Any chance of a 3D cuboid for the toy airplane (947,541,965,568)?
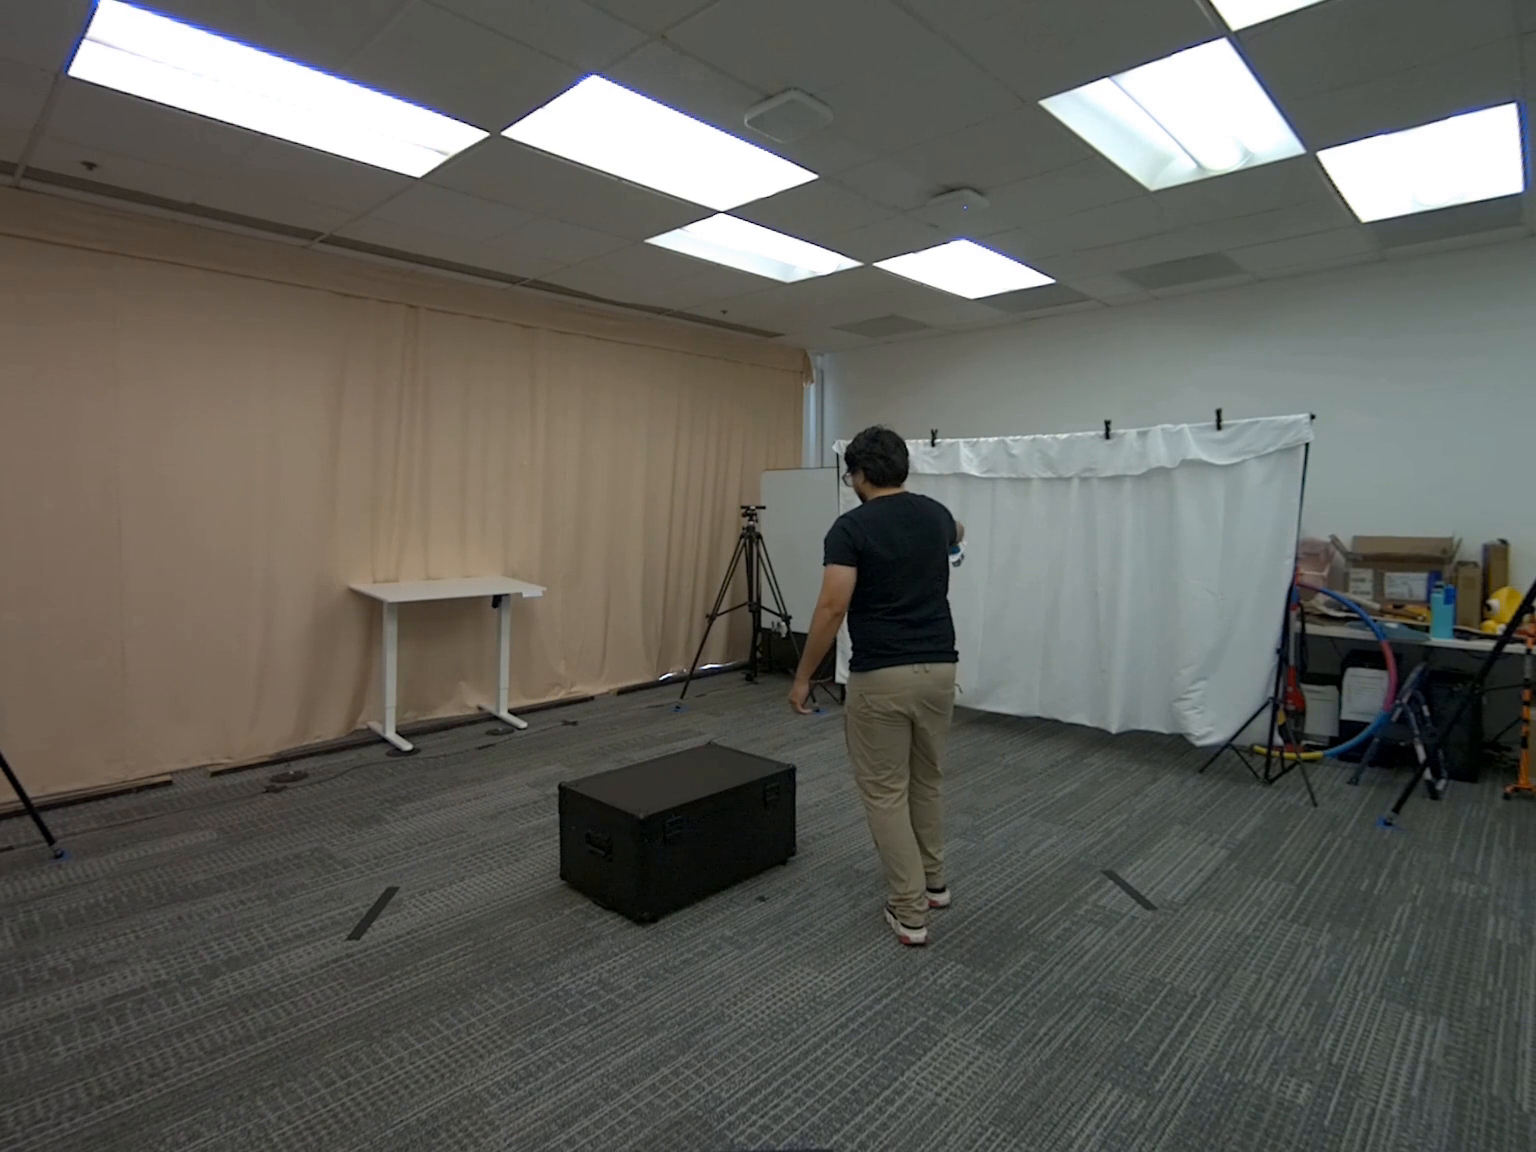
[{"bbox_3d":[0.687,-0.107,3.414,0.263,0.152,0.254,-27,27,22],"label":"toy airplane"}]
